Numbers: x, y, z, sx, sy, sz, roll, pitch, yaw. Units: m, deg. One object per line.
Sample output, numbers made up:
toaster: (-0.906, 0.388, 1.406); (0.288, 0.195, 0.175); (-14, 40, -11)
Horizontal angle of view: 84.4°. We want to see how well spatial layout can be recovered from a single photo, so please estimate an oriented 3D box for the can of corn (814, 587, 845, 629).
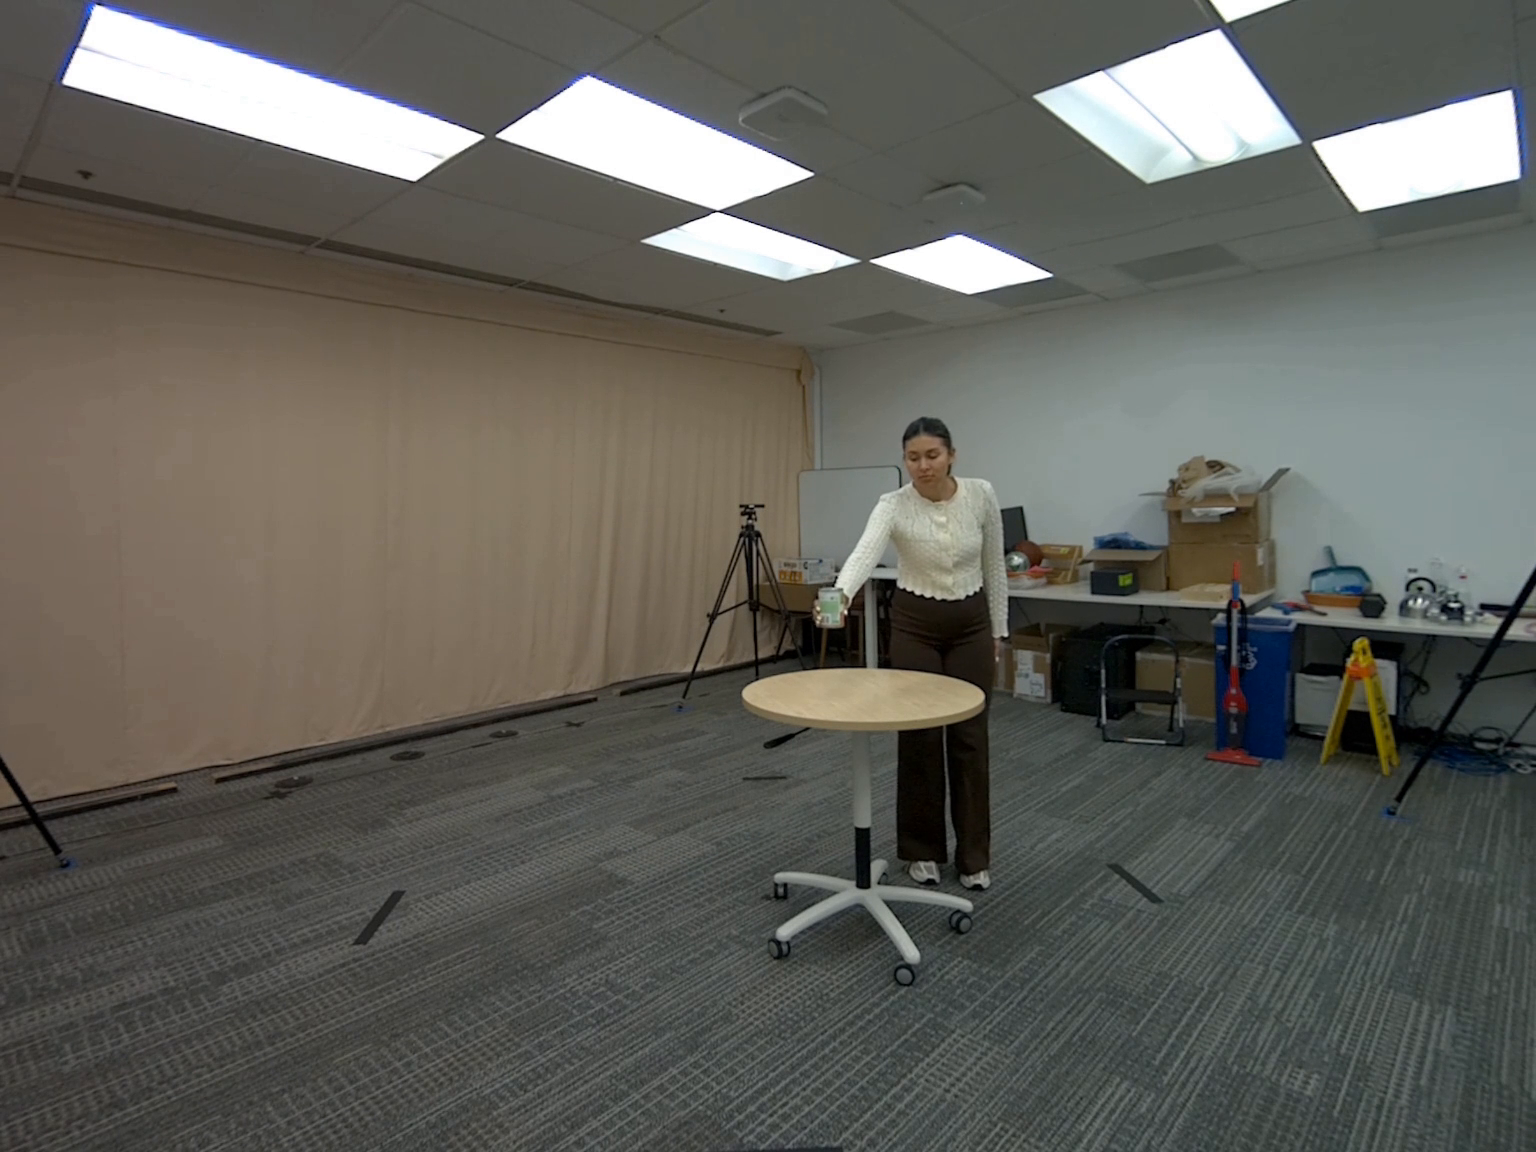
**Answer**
can of corn: (0.189, 0.092, 2.515); (0.074, 0.111, 0.074); (-3, 3, -2)
